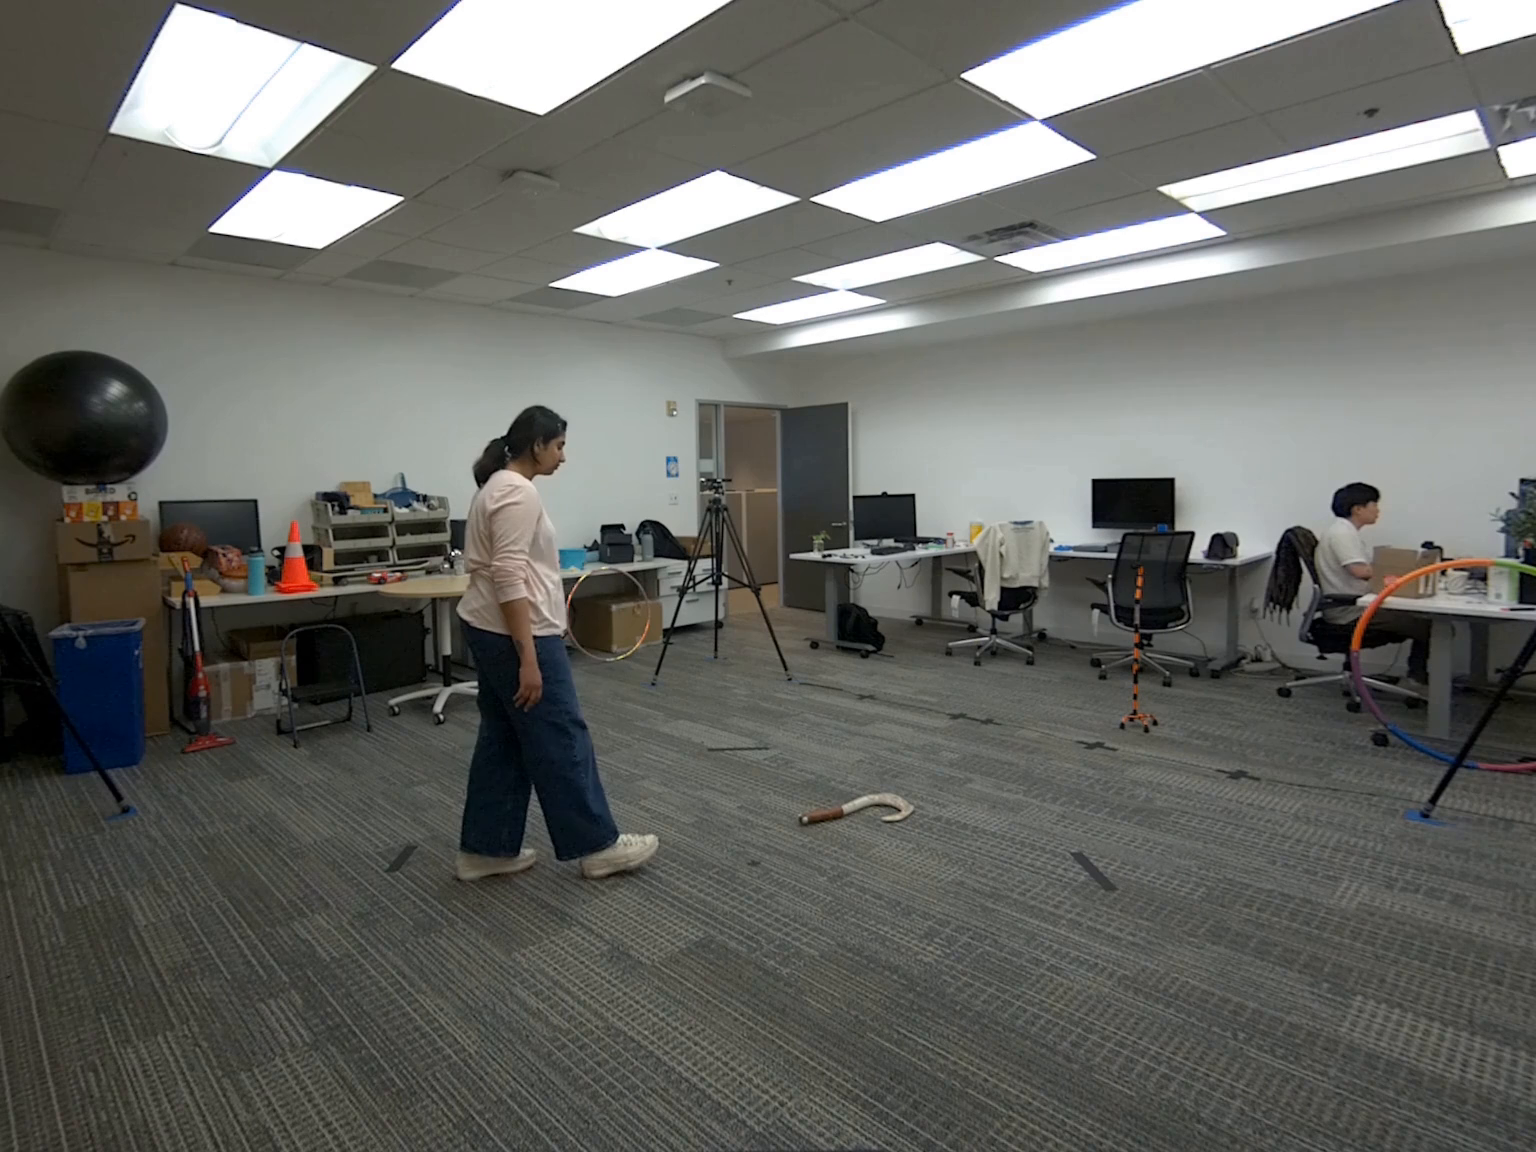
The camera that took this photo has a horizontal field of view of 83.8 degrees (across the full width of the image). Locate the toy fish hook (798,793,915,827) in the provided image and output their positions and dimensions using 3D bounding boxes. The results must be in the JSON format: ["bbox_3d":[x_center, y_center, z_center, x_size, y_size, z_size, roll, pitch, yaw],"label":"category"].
[{"bbox_3d":[0.369,0.969,3.503,0.495,0.048,0.231,-5,8,-28],"label":"toy fish hook"}]
